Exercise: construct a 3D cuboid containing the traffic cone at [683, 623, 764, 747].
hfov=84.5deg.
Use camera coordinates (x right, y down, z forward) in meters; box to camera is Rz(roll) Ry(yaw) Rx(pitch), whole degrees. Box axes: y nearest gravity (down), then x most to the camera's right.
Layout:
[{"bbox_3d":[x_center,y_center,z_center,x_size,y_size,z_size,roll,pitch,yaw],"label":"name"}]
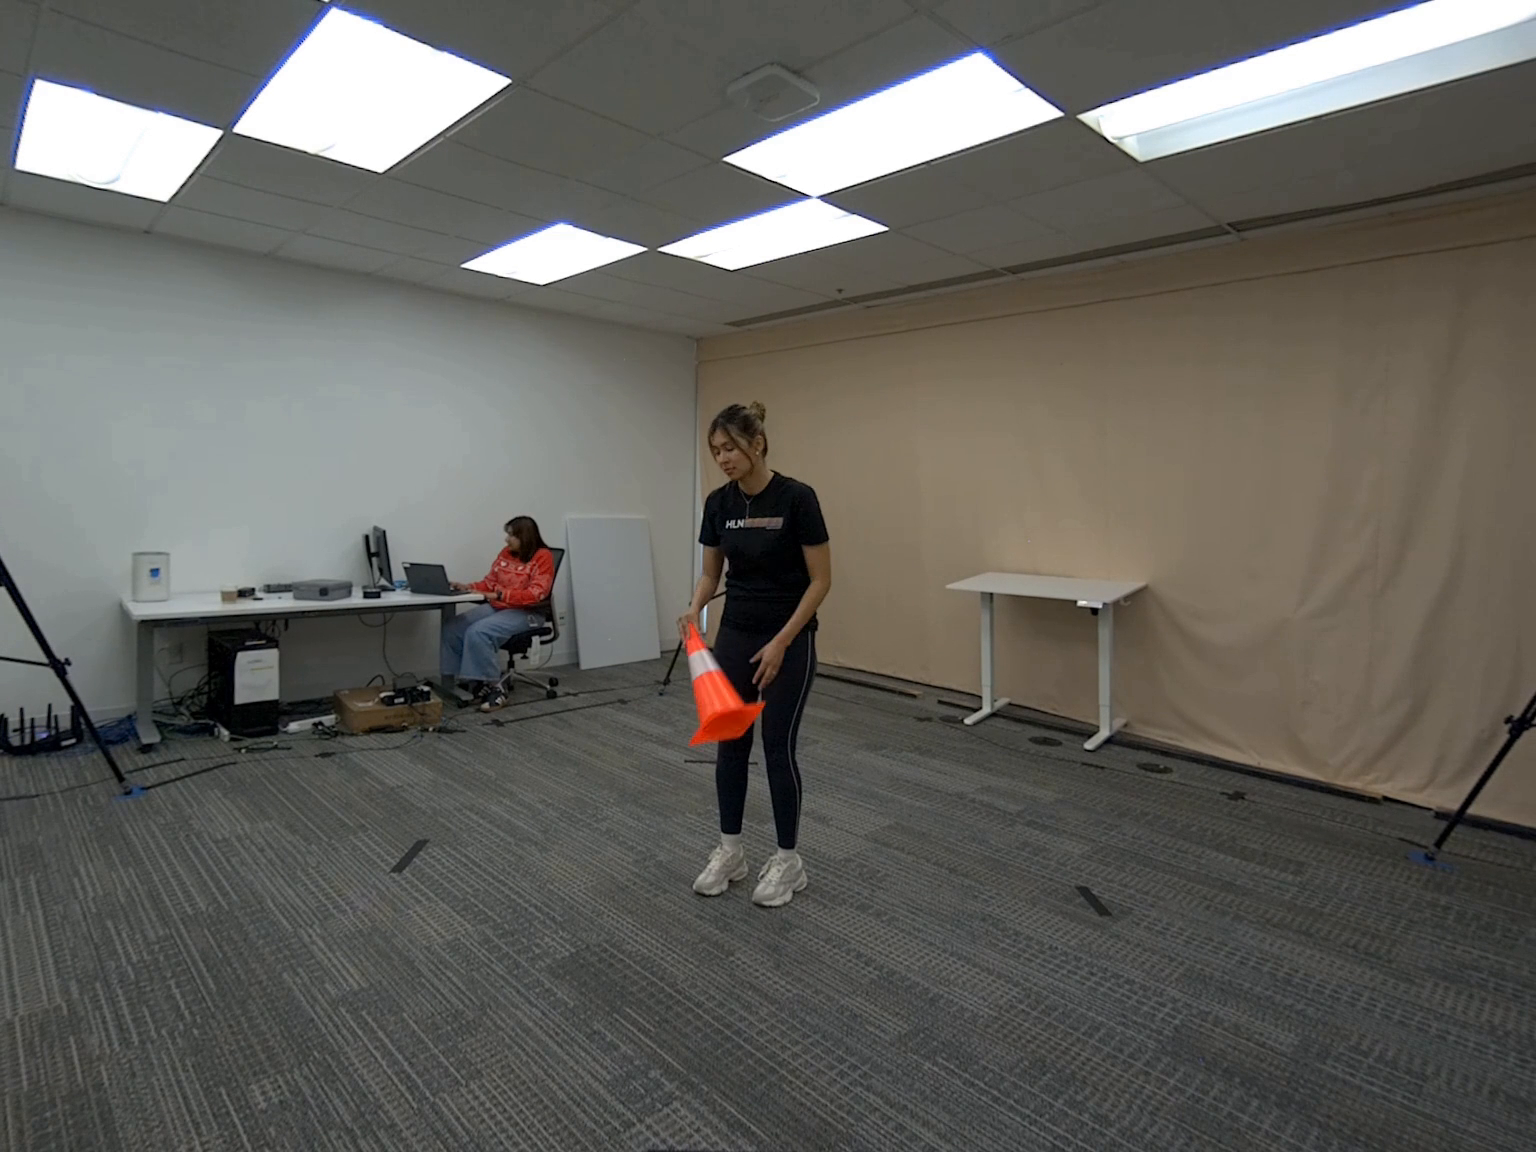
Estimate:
[{"bbox_3d":[-0.214,0.300,2.698,0.201,0.201,0.395,-3,49,-30],"label":"traffic cone"}]
